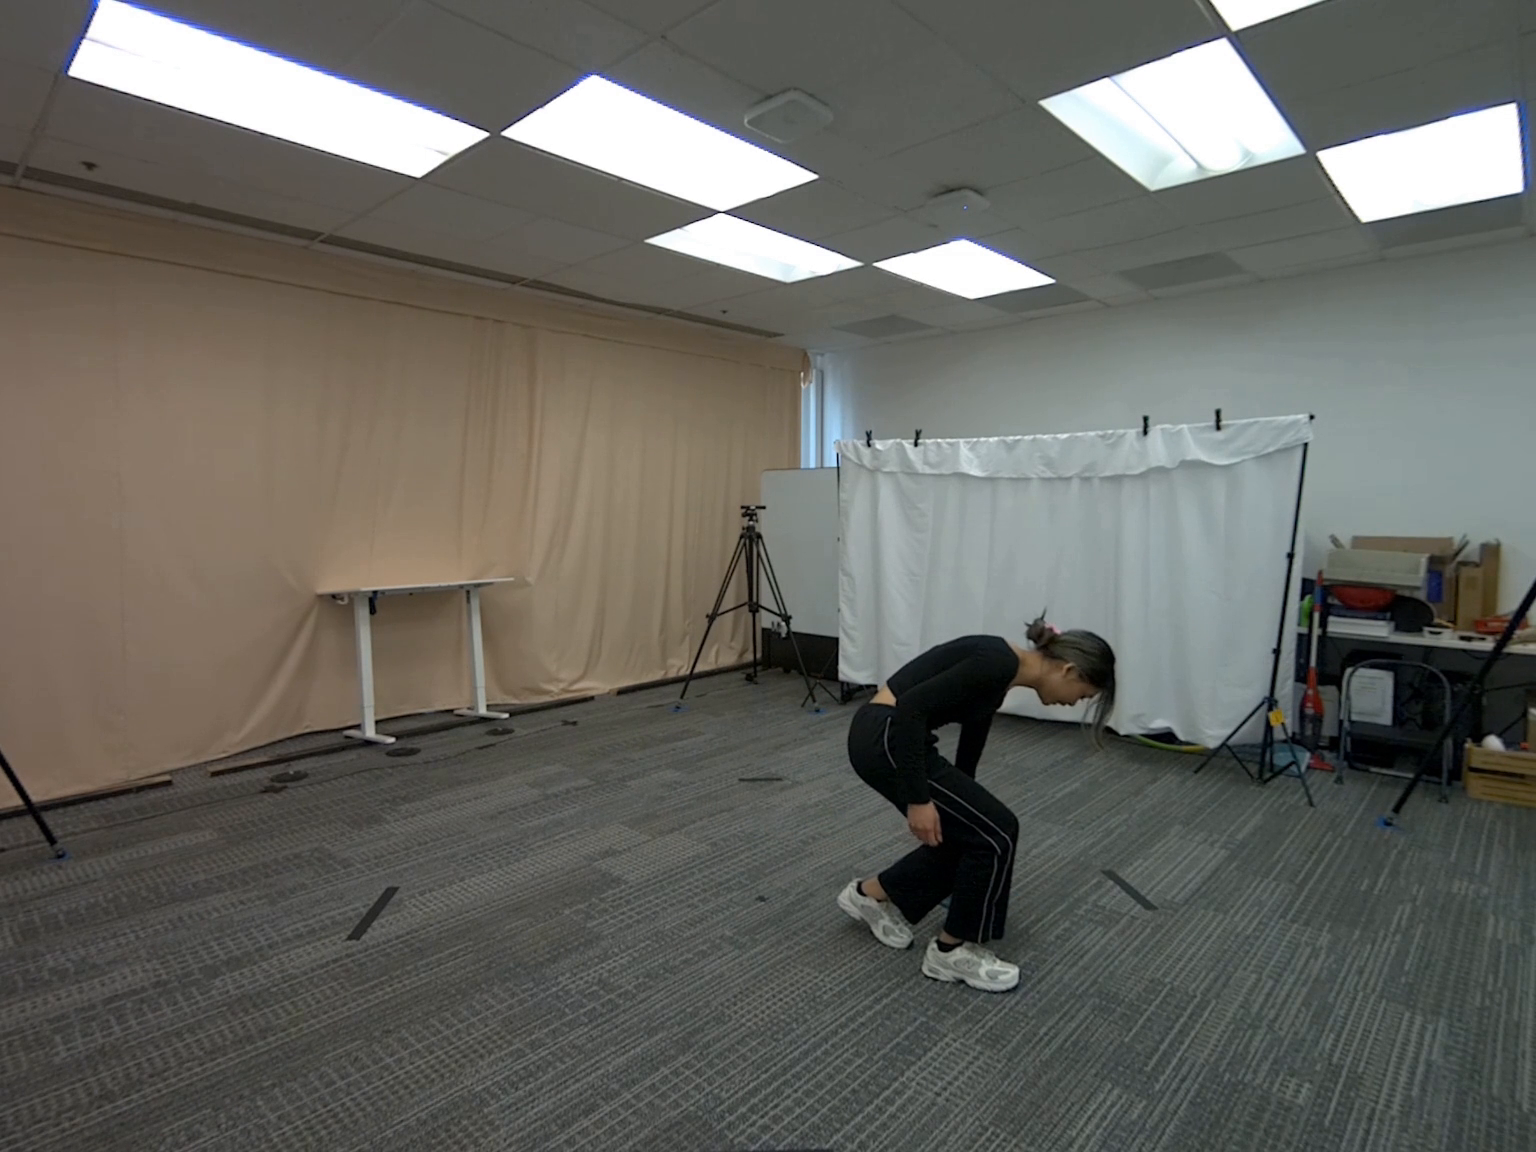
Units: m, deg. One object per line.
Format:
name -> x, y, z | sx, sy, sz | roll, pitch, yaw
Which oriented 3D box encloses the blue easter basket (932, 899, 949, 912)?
blue easter basket -> 0.662, 1.045, 2.786 | 0.246, 0.156, 0.241 | 25, -19, 7
